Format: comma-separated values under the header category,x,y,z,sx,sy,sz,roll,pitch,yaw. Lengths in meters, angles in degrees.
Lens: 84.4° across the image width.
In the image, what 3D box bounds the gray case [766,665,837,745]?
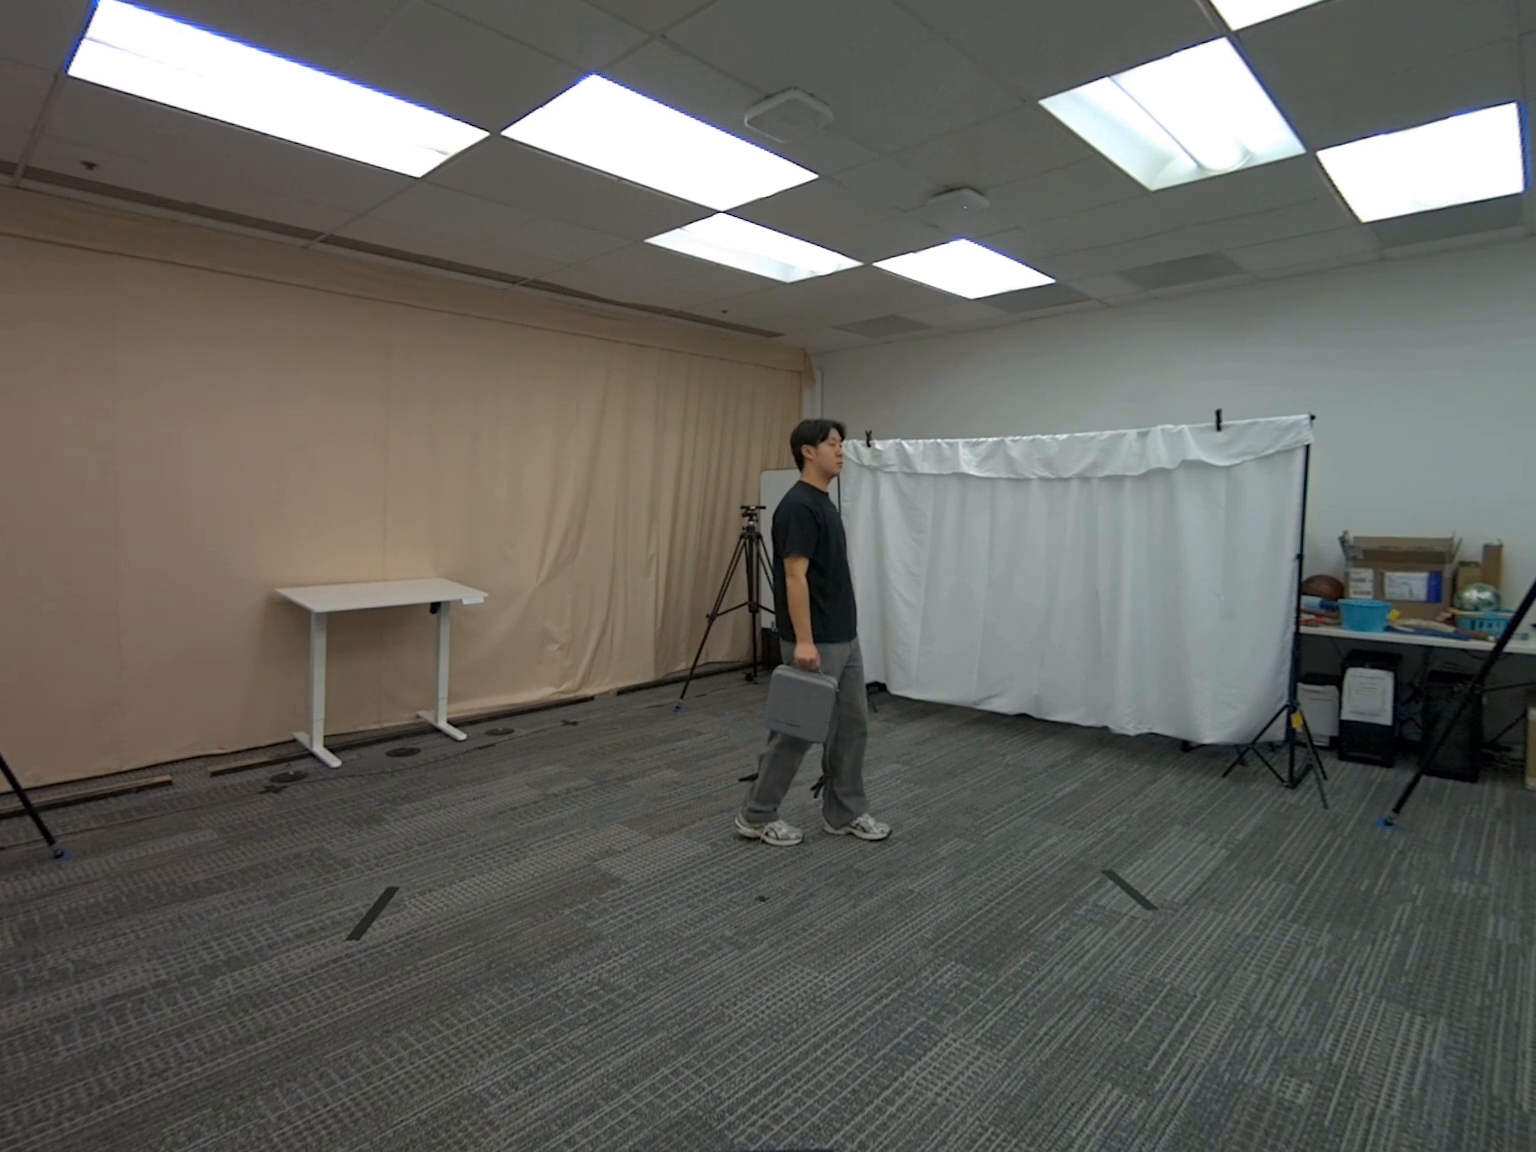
category,x,y,z,sx,sy,sz,roll,pitch,yaw
gray case,0.134,0.480,3.255,0.268,0.285,0.101,14,13,17
